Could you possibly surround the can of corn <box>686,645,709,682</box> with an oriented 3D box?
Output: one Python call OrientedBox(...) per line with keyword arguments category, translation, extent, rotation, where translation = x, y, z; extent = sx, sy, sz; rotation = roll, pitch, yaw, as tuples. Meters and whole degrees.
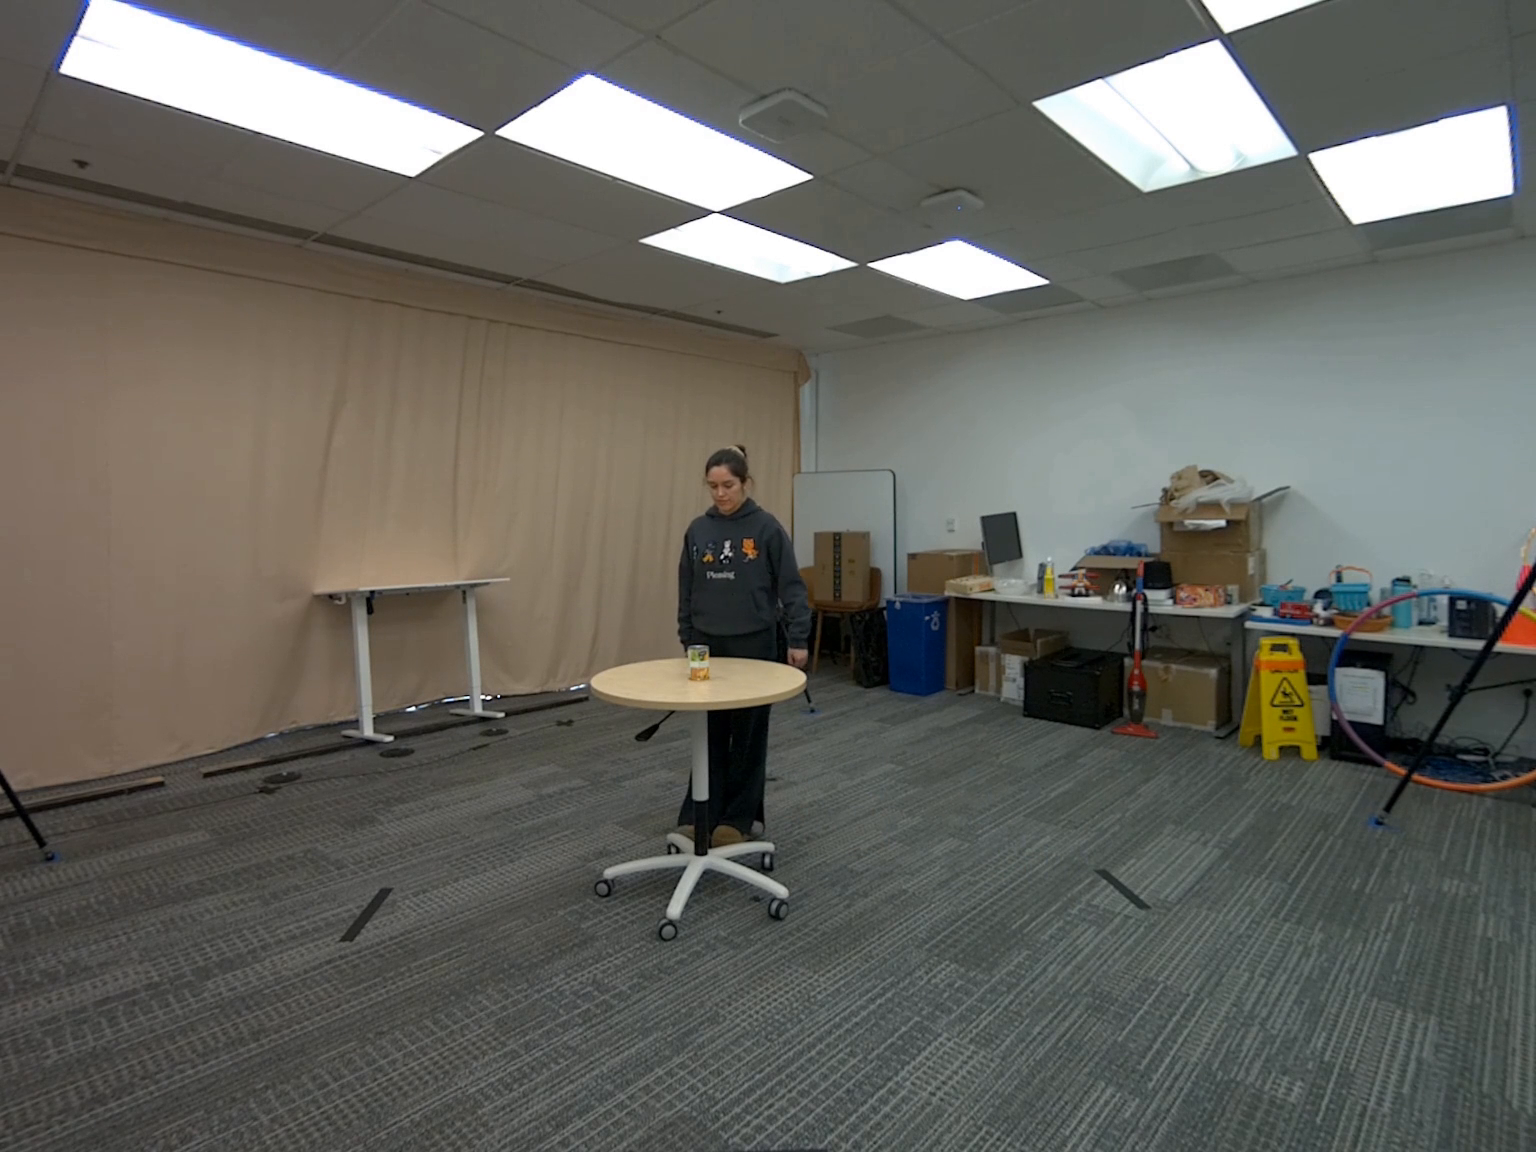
OrientedBox(category="can of corn", translation=(-0.238, 0.305, 2.978), extent=(0.074, 0.111, 0.074), rotation=(0, 2, -2))
